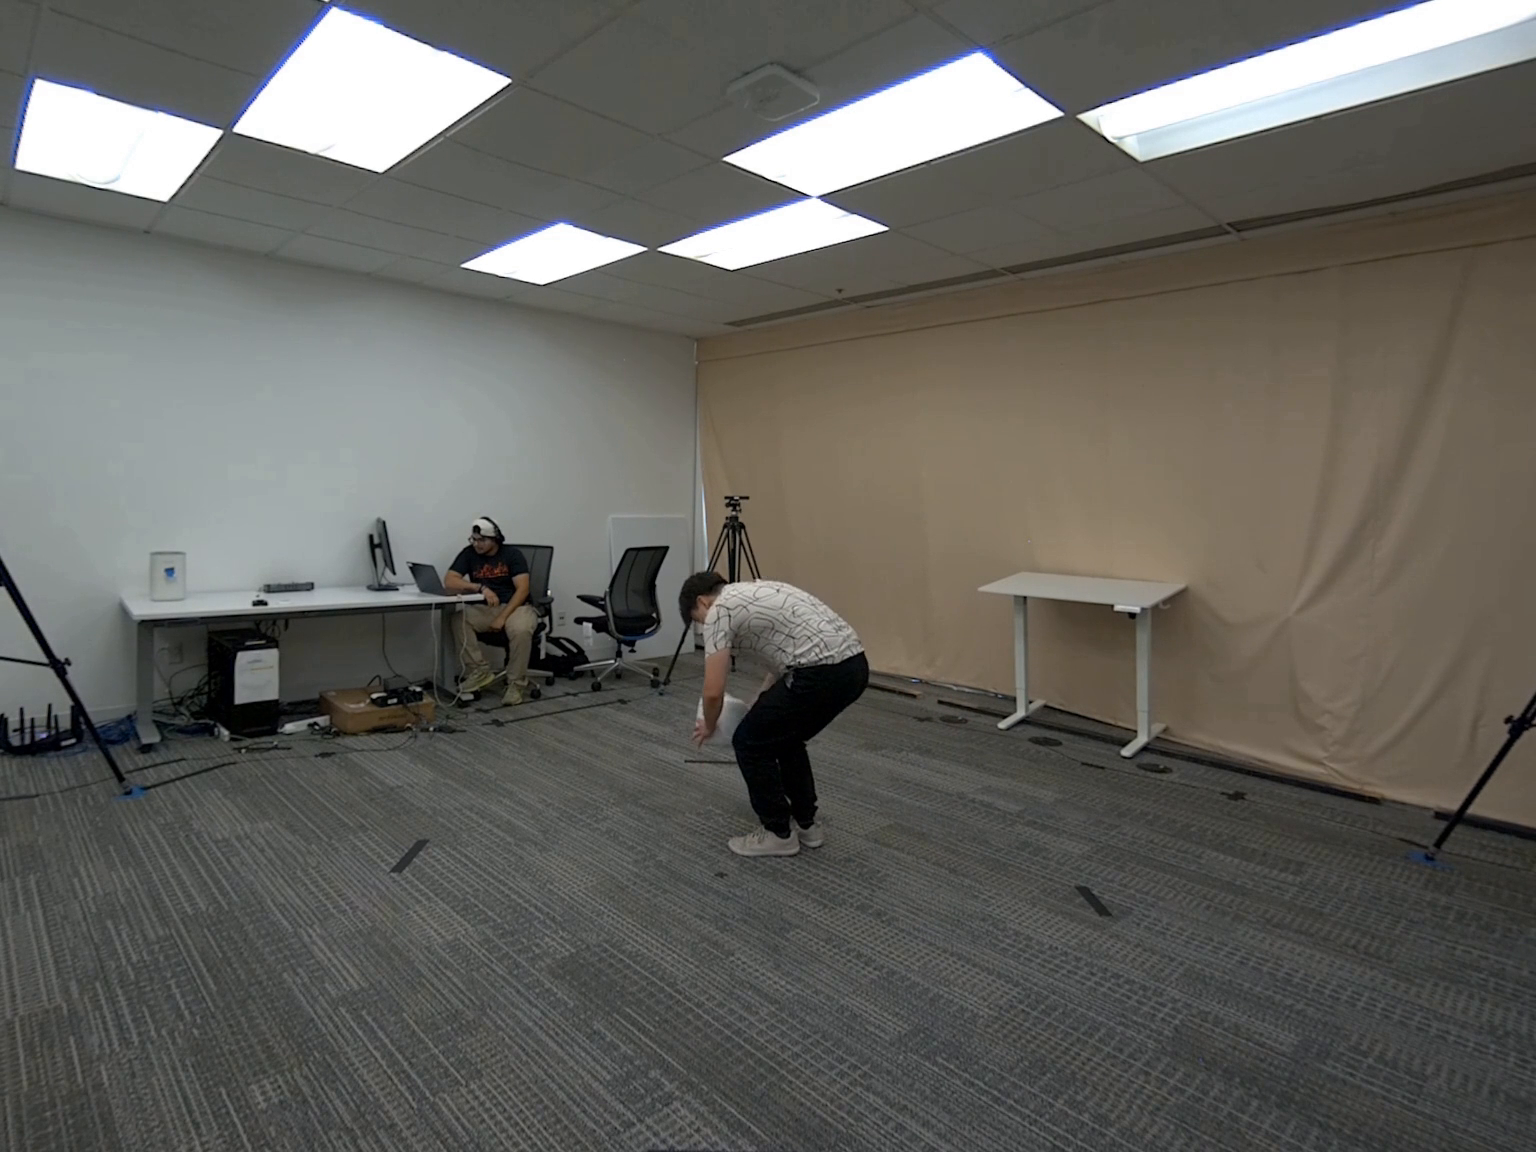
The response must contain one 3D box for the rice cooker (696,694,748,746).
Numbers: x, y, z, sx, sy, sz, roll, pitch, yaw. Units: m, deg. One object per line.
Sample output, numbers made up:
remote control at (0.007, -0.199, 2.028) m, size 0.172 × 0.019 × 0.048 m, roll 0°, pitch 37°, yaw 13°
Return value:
rice cooker at (-0.200, 0.611, 3.592) m, size 0.221 × 0.235 × 0.214 m, roll 0°, pitch -16°, yaw 26°
